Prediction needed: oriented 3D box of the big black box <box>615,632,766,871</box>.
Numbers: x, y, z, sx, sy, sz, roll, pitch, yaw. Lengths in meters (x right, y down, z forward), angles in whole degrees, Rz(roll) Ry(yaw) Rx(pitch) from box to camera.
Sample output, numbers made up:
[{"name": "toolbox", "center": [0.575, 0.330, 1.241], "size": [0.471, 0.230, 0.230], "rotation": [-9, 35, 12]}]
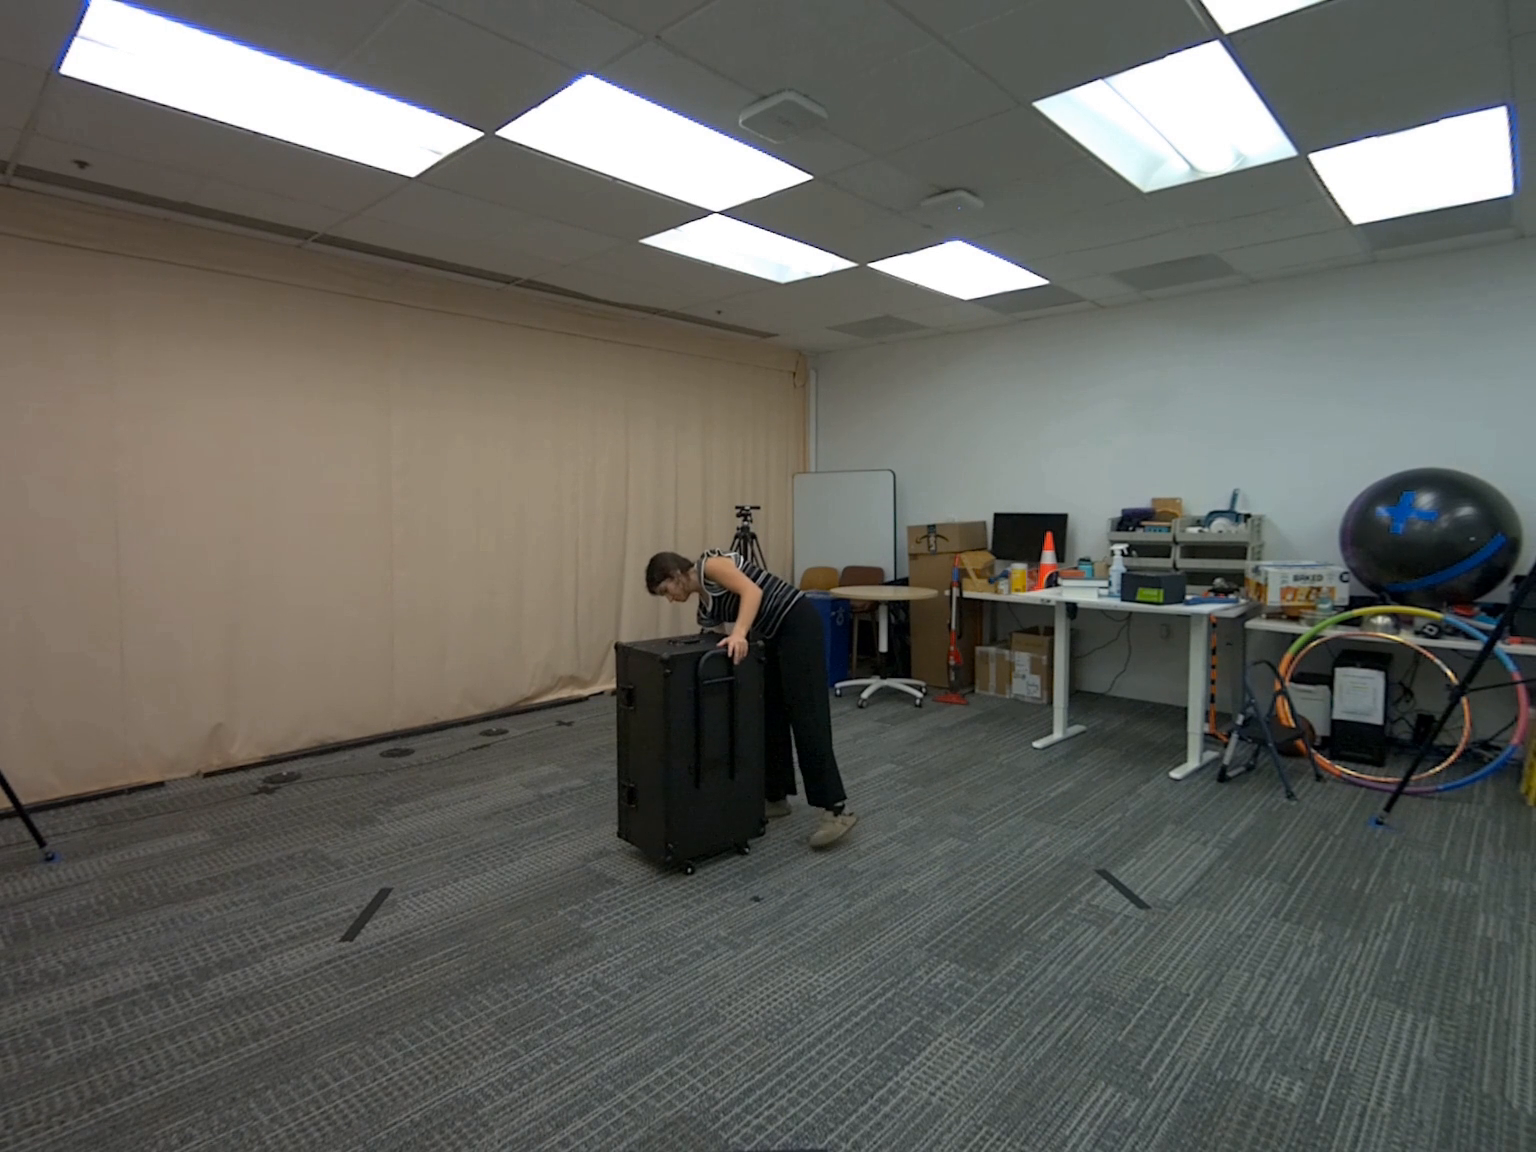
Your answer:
[{"name": "big black box", "center": [-0.295, 0.692, 3.356], "size": [0.505, 0.859, 0.409], "rotation": [-2, 4, -38]}]
